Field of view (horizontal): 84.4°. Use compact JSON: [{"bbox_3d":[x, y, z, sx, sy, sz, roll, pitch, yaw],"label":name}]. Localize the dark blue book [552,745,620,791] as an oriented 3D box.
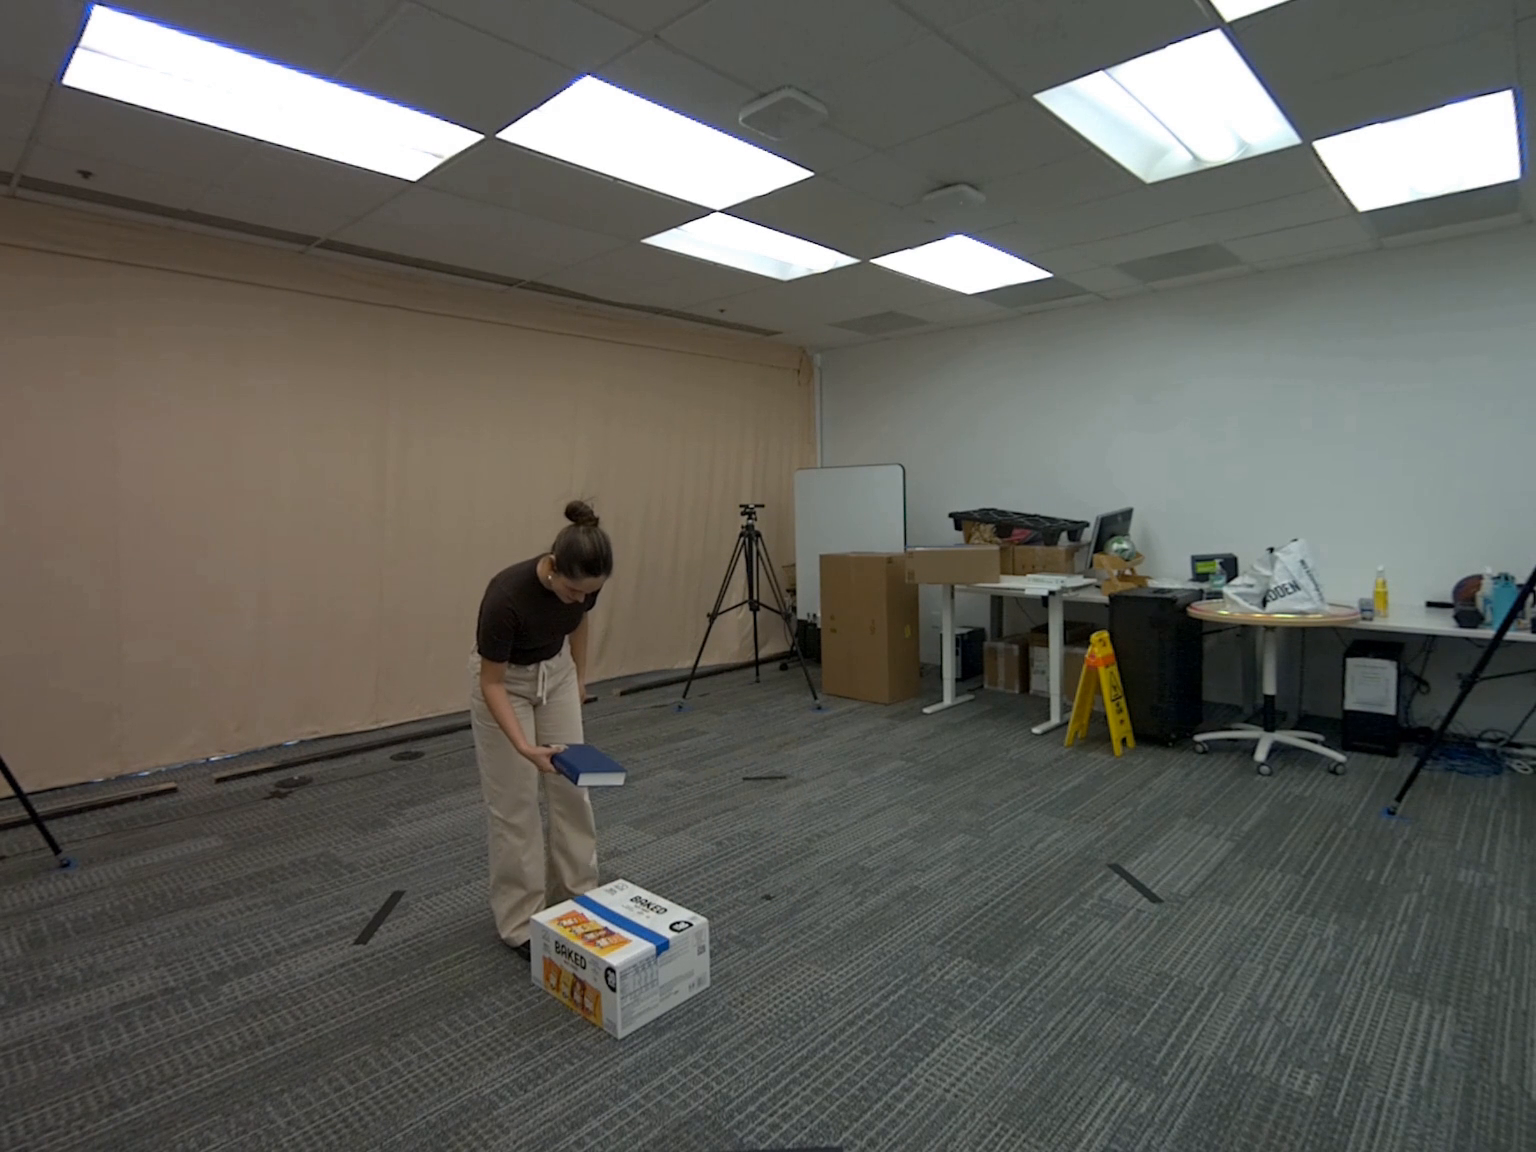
[{"bbox_3d":[-0.569,0.560,2.488,0.158,0.045,0.253,6,5,-37],"label":"dark blue book"}]
